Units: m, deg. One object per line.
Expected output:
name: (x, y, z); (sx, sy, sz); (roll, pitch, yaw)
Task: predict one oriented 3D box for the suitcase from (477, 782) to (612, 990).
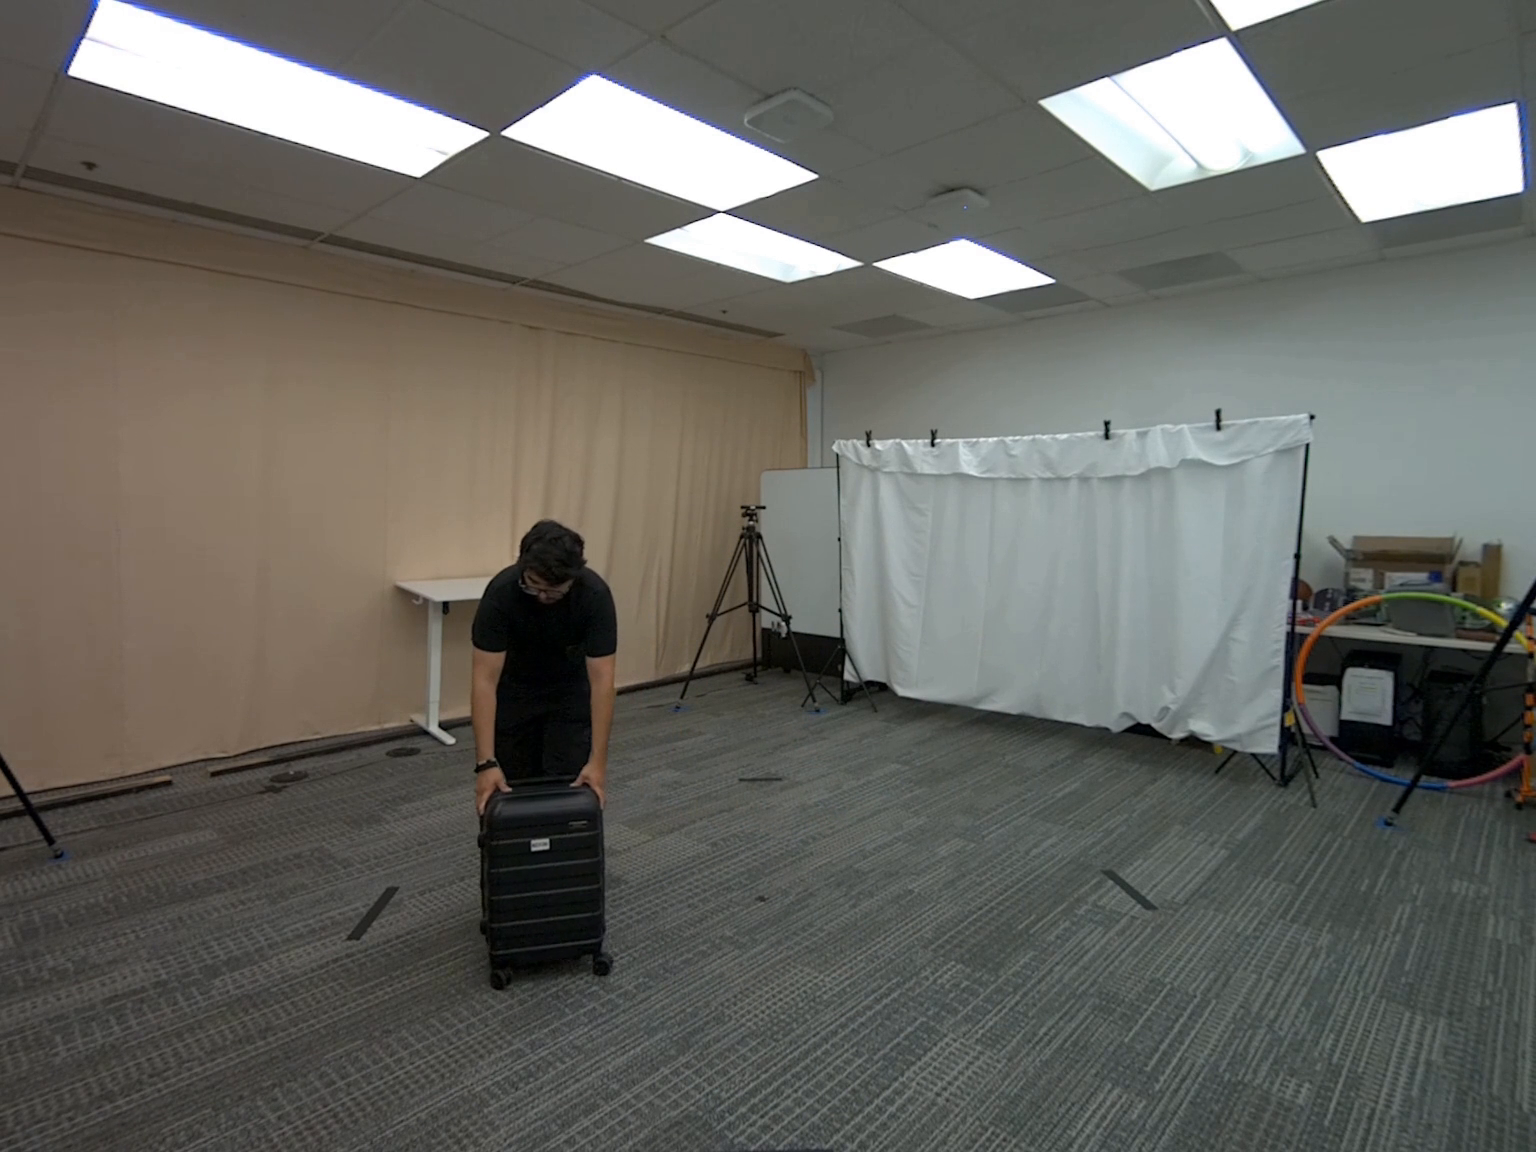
suitcase: (-0.689, 0.912, 2.573); (0.370, 0.548, 0.252); (-3, 3, -15)
